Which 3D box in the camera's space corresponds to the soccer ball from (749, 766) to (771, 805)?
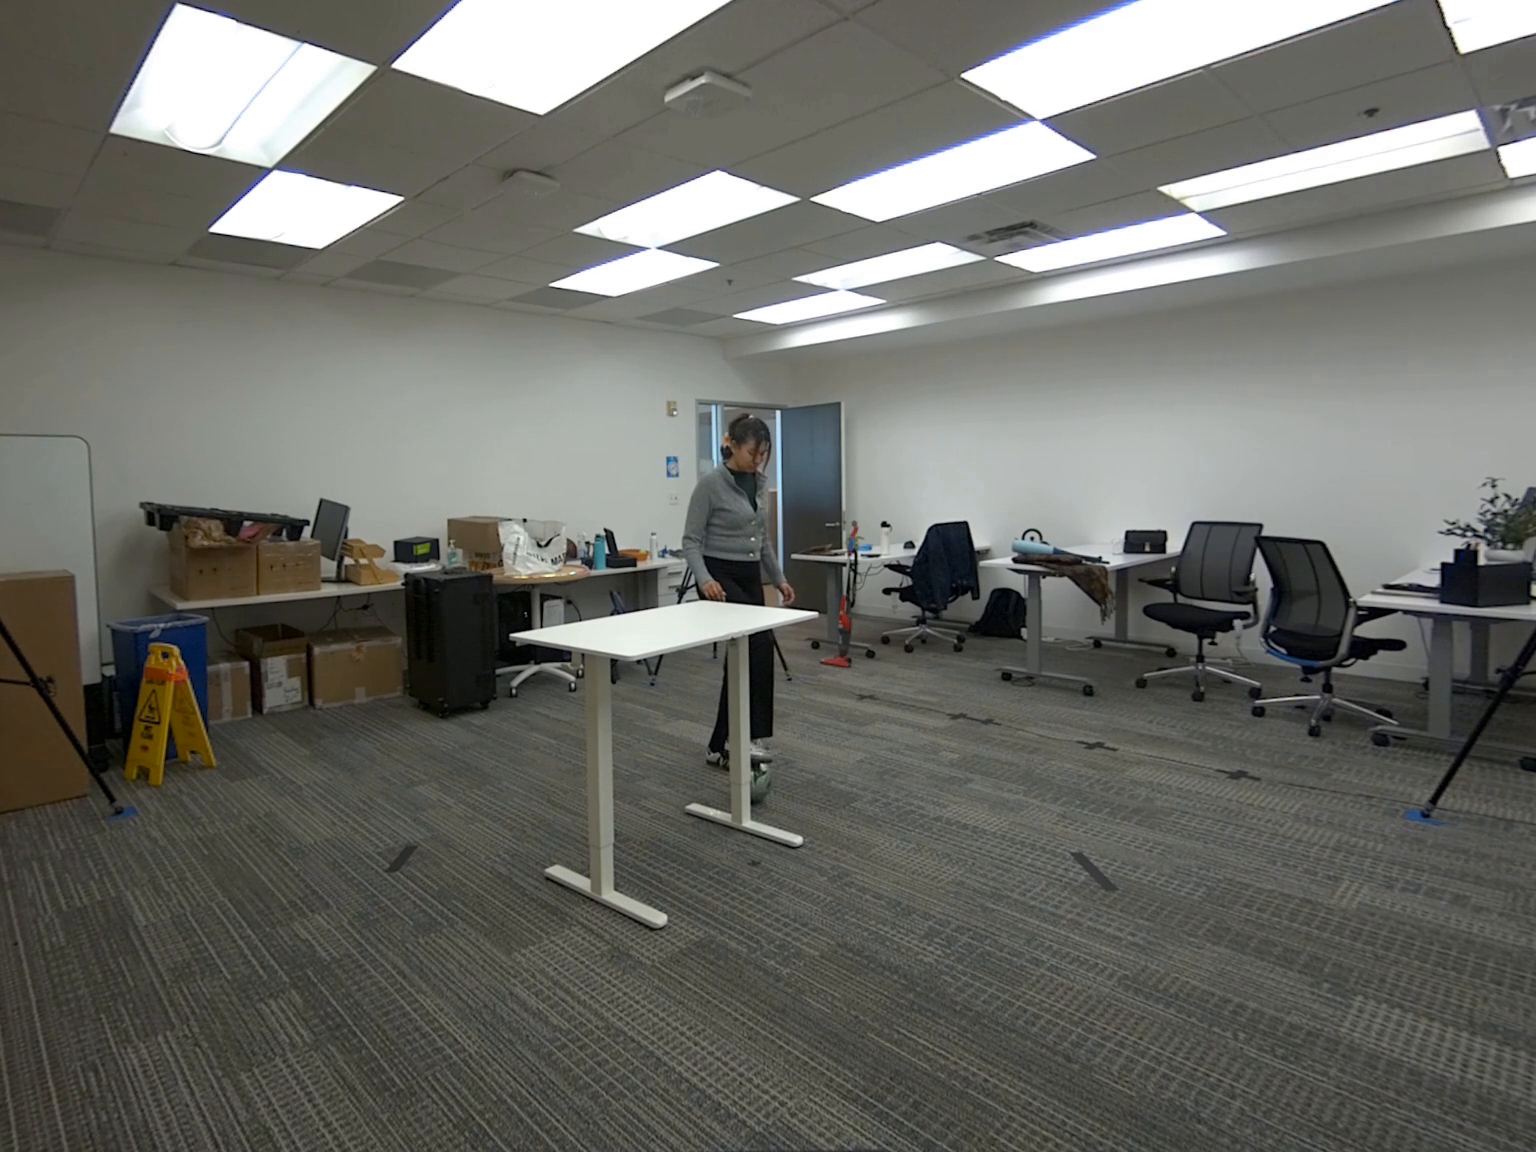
[{"bbox_3d":[-0.066,0.893,3.708,0.187,0.187,0.188,-1,5,-2],"label":"soccer ball"}]
